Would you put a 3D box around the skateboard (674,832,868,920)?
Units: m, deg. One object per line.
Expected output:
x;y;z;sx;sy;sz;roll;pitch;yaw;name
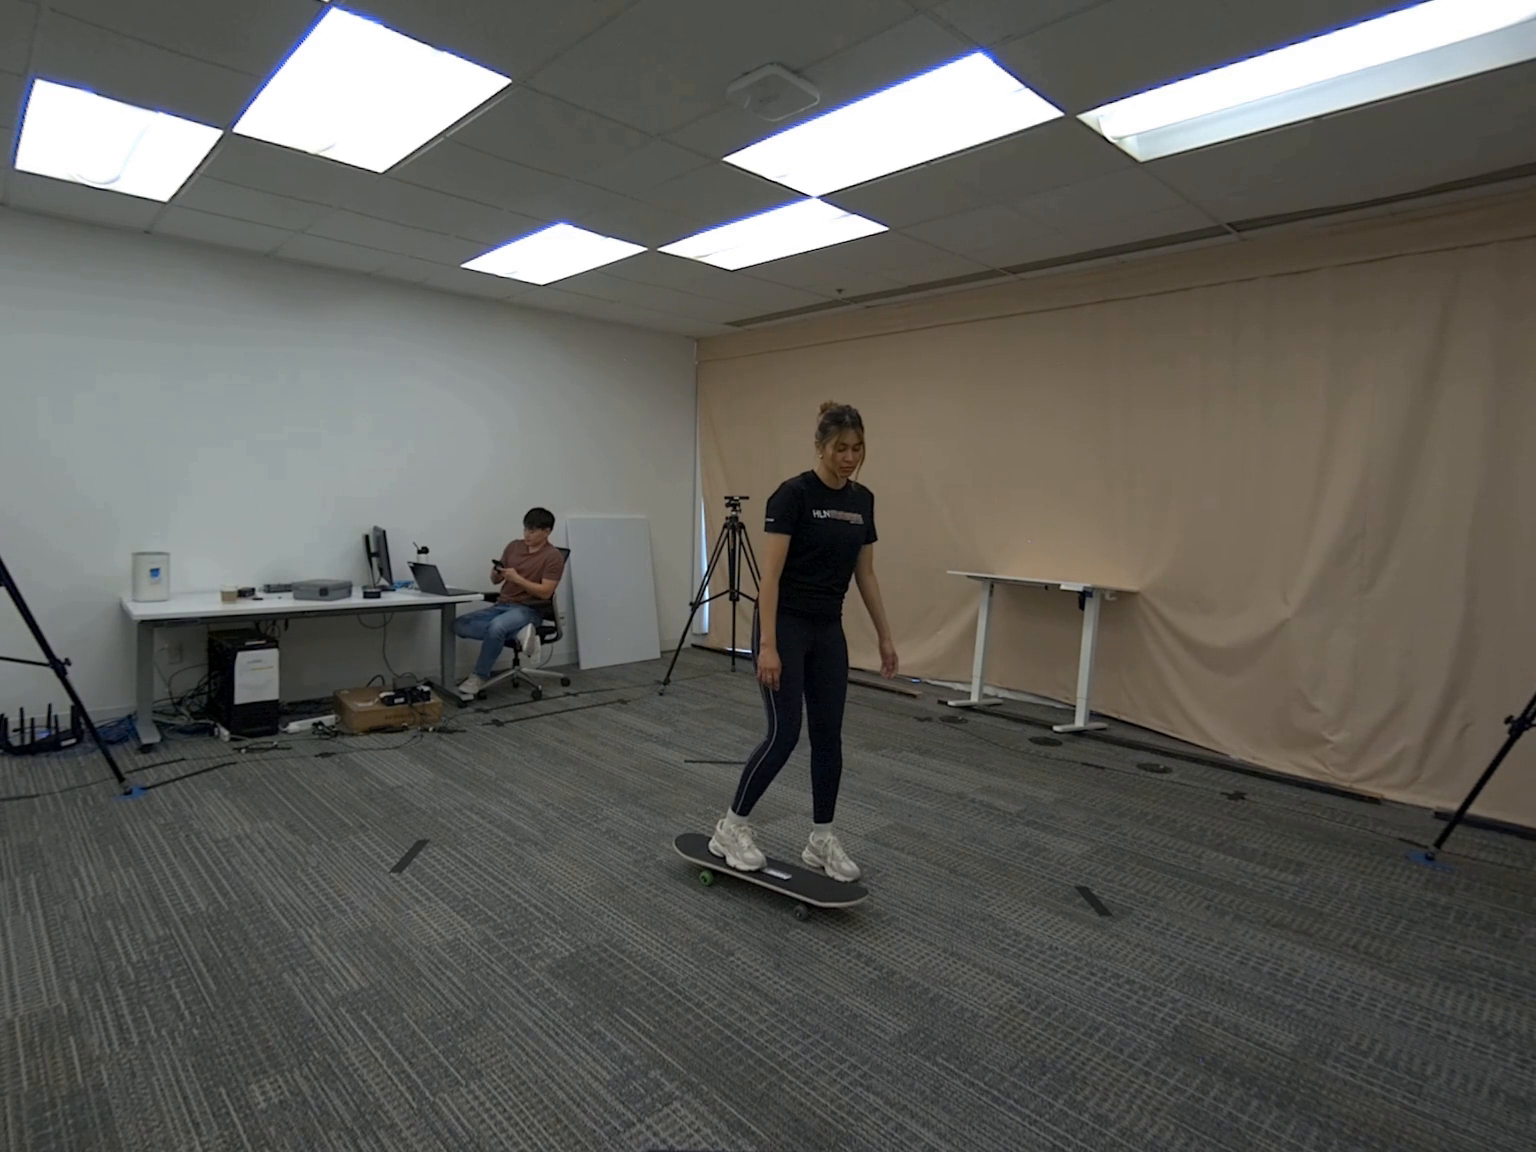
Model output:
-0.010;1.066;2.956;0.804;0.110;0.189;5;5;36;skateboard
